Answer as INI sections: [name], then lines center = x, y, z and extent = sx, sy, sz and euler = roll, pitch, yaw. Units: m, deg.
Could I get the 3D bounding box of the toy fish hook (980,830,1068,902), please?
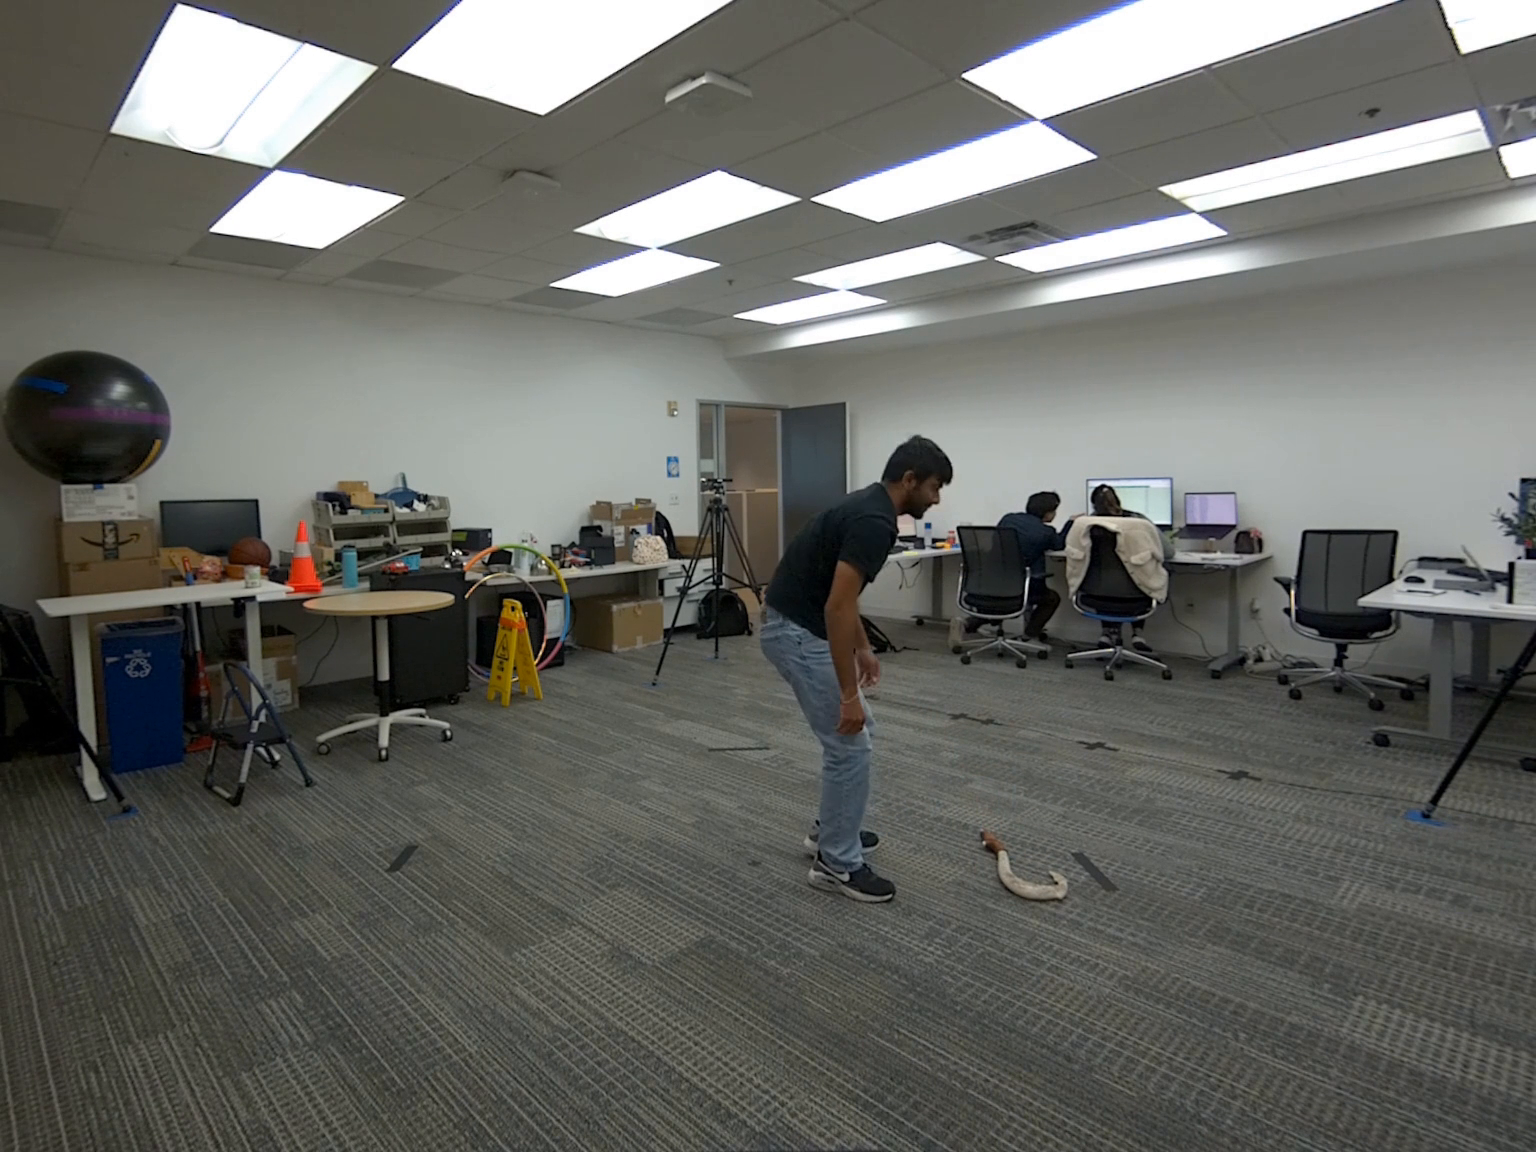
[toy fish hook]
center = 0.903, 1.023, 3.041
extent = 0.224, 0.048, 0.510
euler = 6, 7, -4
